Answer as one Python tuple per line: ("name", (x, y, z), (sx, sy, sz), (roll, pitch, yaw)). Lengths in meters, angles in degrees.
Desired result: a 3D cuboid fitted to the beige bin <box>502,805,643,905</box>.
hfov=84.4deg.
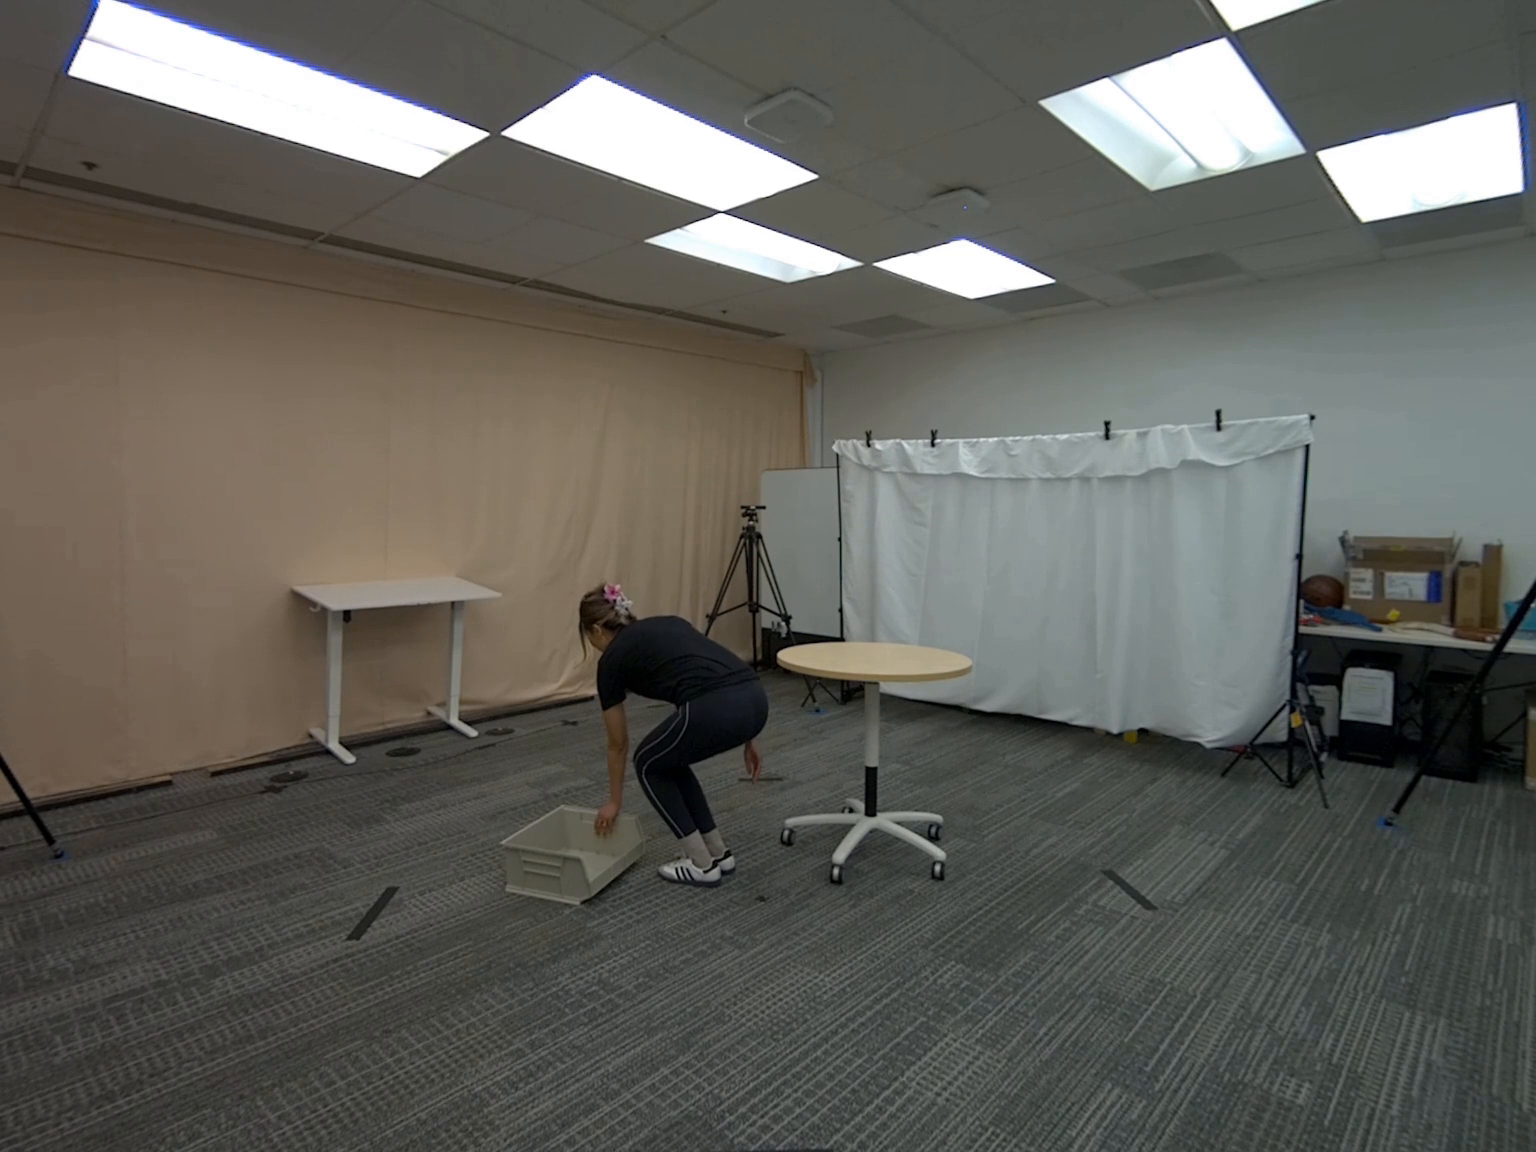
("beige bin", (-0.728, 1.044, 3.180), (0.386, 0.188, 0.414), (1, 5, 21))
